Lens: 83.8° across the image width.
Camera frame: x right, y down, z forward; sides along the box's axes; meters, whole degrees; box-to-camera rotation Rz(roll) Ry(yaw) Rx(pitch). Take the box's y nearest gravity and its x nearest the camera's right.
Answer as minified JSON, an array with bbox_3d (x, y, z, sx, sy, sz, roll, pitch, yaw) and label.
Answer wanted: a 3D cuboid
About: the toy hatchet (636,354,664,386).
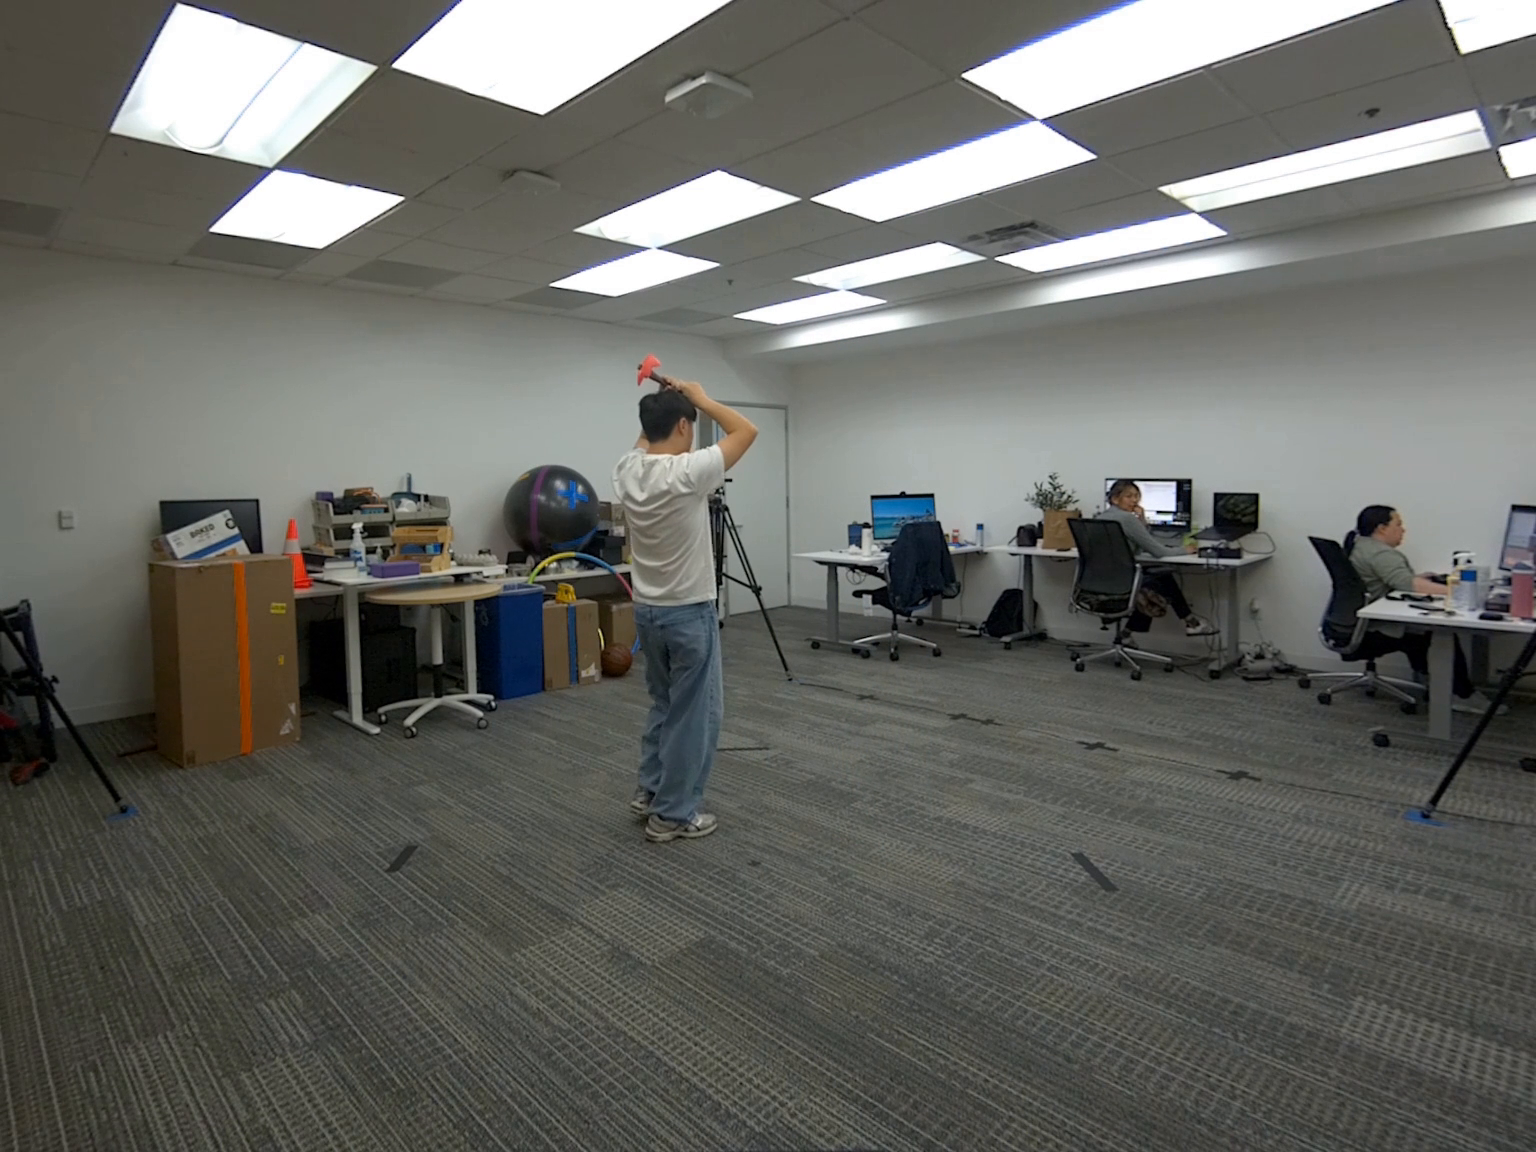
[{"bbox_3d":[-0.382,-0.785,3.334,0.263,0.131,0.030,2,-1,-32],"label":"toy hatchet"}]
